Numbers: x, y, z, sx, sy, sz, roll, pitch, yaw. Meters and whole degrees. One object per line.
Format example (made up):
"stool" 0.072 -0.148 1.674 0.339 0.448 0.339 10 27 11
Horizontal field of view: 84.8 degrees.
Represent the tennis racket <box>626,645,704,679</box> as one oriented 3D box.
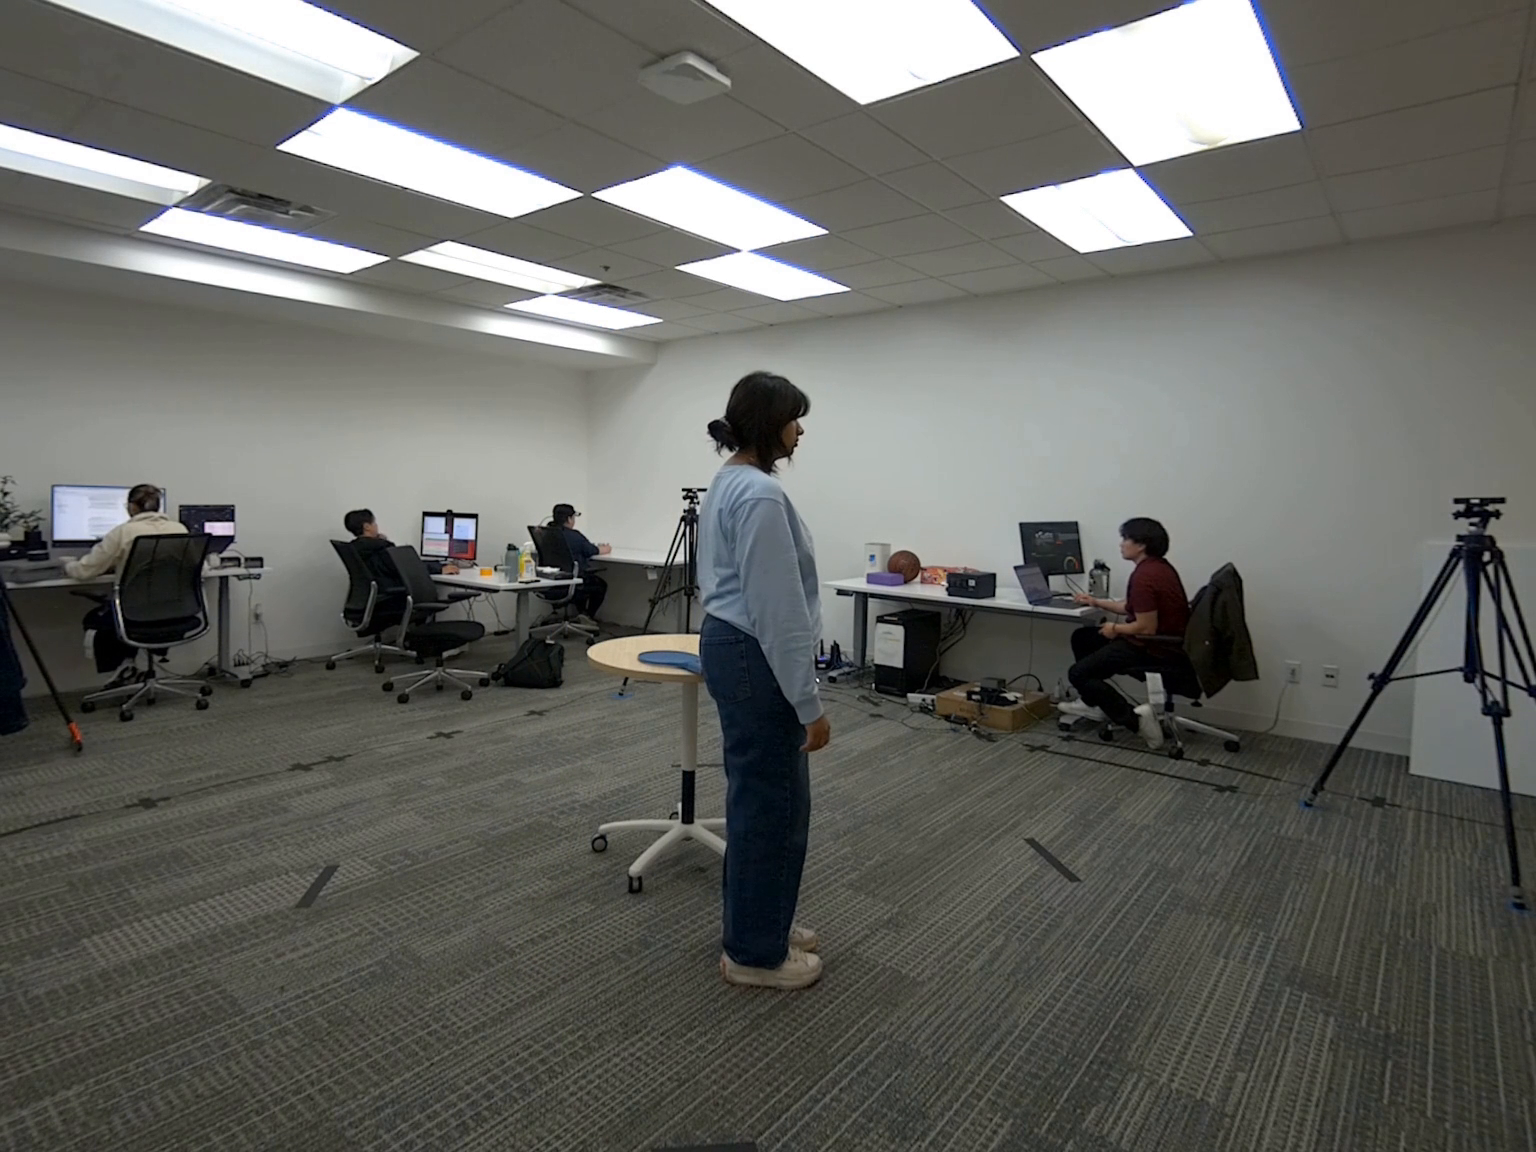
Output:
"tennis racket" -0.321 0.293 2.919 0.208 0.032 0.445 0 4 -27
